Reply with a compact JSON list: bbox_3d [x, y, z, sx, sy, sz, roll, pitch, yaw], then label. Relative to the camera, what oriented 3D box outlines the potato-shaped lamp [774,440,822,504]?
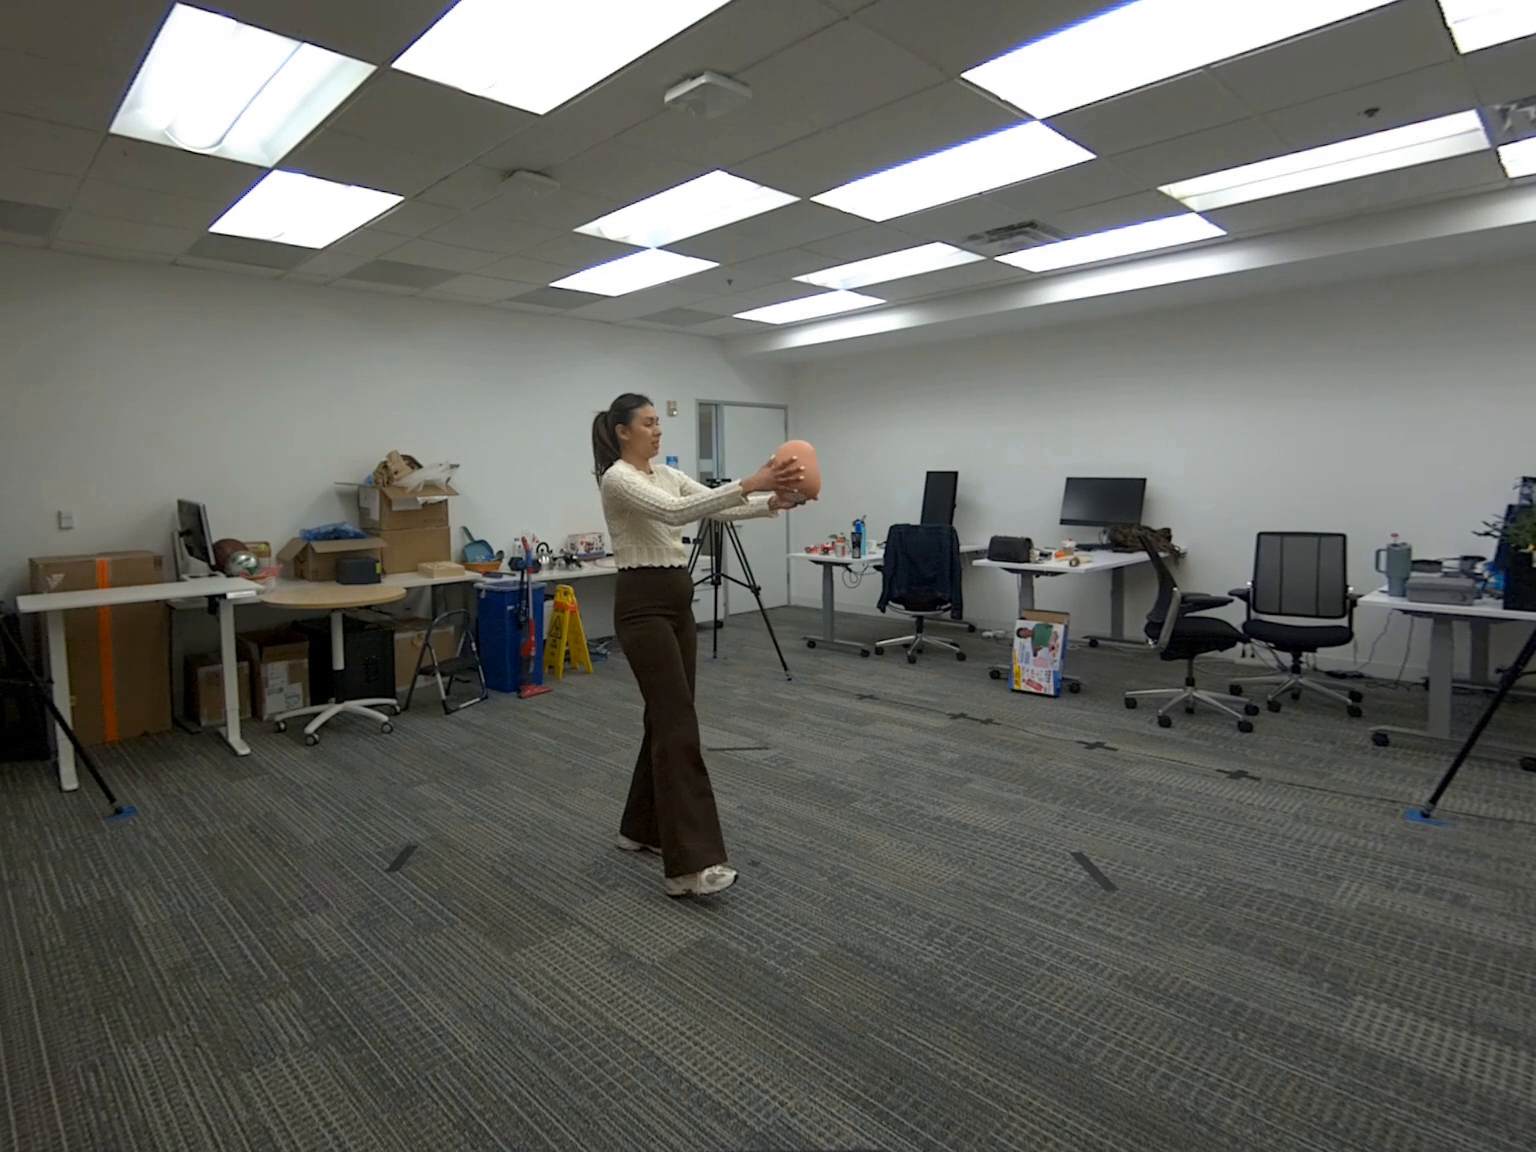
[{"bbox_3d":[0.095,-0.358,2.870,0.169,0.200,0.165,-5,-18,36],"label":"potato-shaped lamp"}]
